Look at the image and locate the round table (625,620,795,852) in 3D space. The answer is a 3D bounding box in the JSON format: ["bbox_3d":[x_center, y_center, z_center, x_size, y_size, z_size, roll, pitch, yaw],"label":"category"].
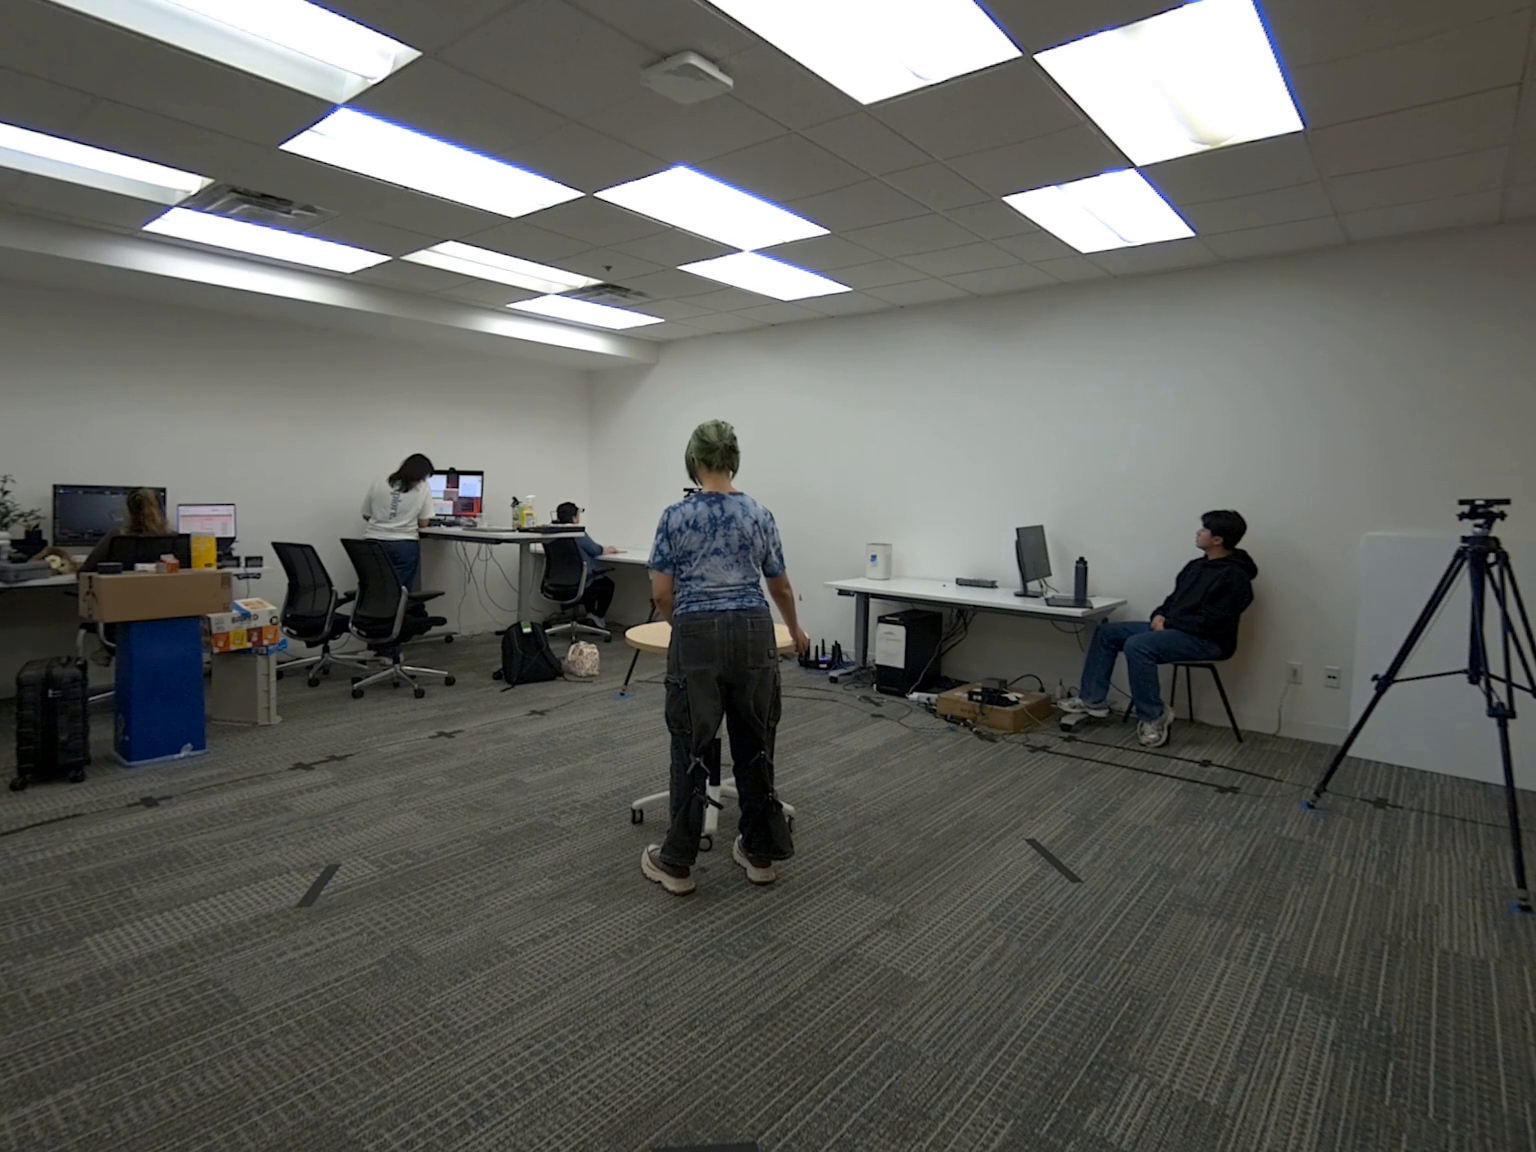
[{"bbox_3d":[-0.236,0.634,3.589,0.763,0.792,0.767,1,4,-2],"label":"round table"}]
